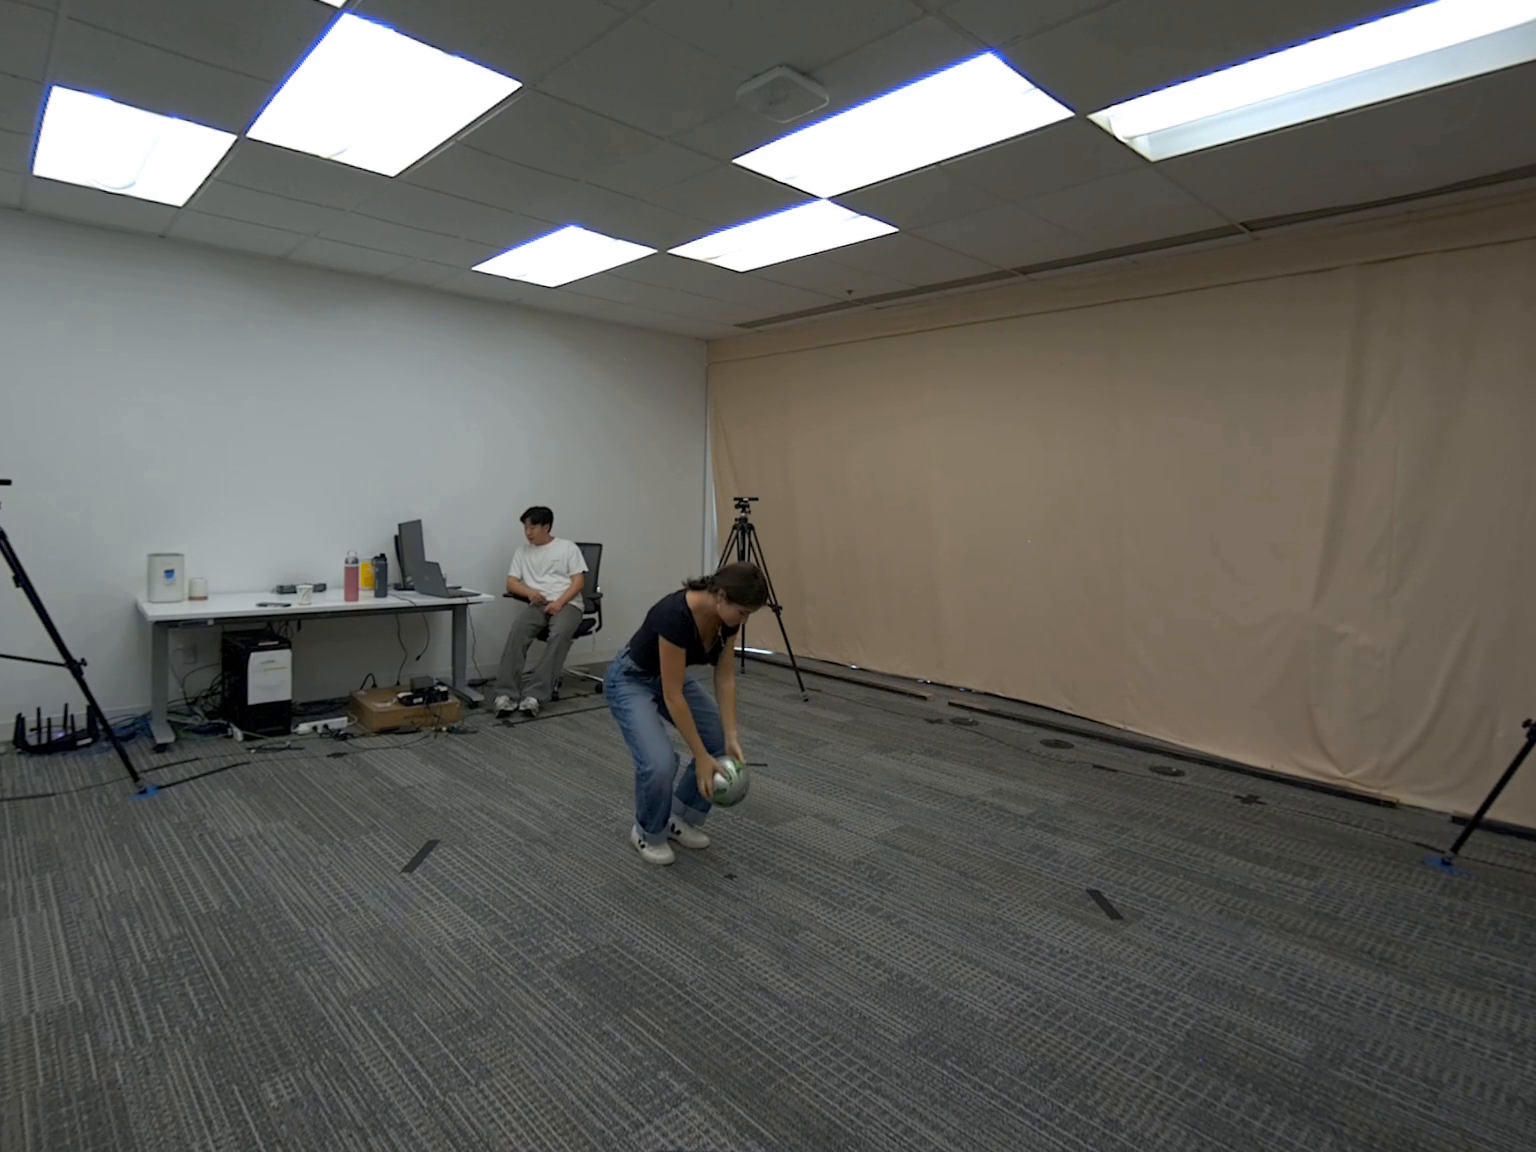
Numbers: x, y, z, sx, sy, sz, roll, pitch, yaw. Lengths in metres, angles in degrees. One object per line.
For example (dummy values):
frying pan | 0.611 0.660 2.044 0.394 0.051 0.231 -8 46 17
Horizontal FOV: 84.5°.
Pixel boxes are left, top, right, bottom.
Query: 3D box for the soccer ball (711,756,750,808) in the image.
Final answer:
soccer ball | -0.189 0.755 3.164 0.187 0.187 0.188 1 4 -1
